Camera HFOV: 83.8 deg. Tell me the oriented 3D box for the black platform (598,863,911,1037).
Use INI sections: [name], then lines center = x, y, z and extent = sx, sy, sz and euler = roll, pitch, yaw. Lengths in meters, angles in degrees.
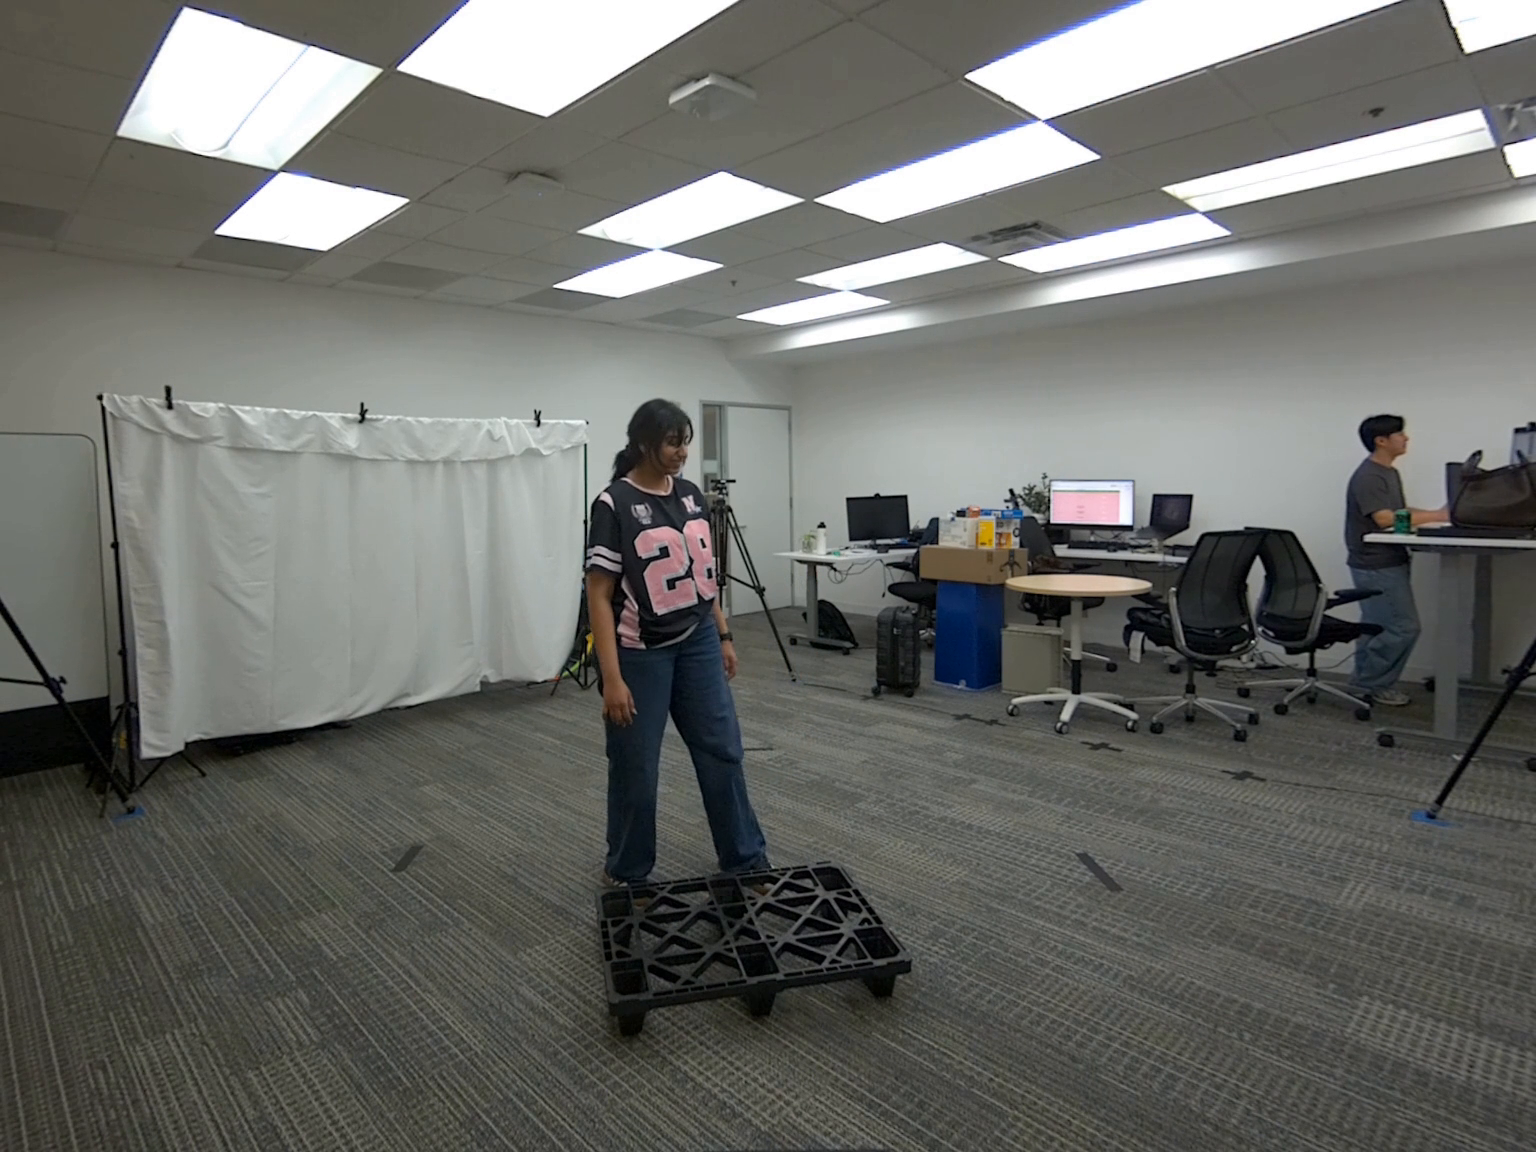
[black platform]
center = -0.068, 1.060, 2.447
extent = 0.796, 0.142, 0.615
euler = -3, 7, -13
